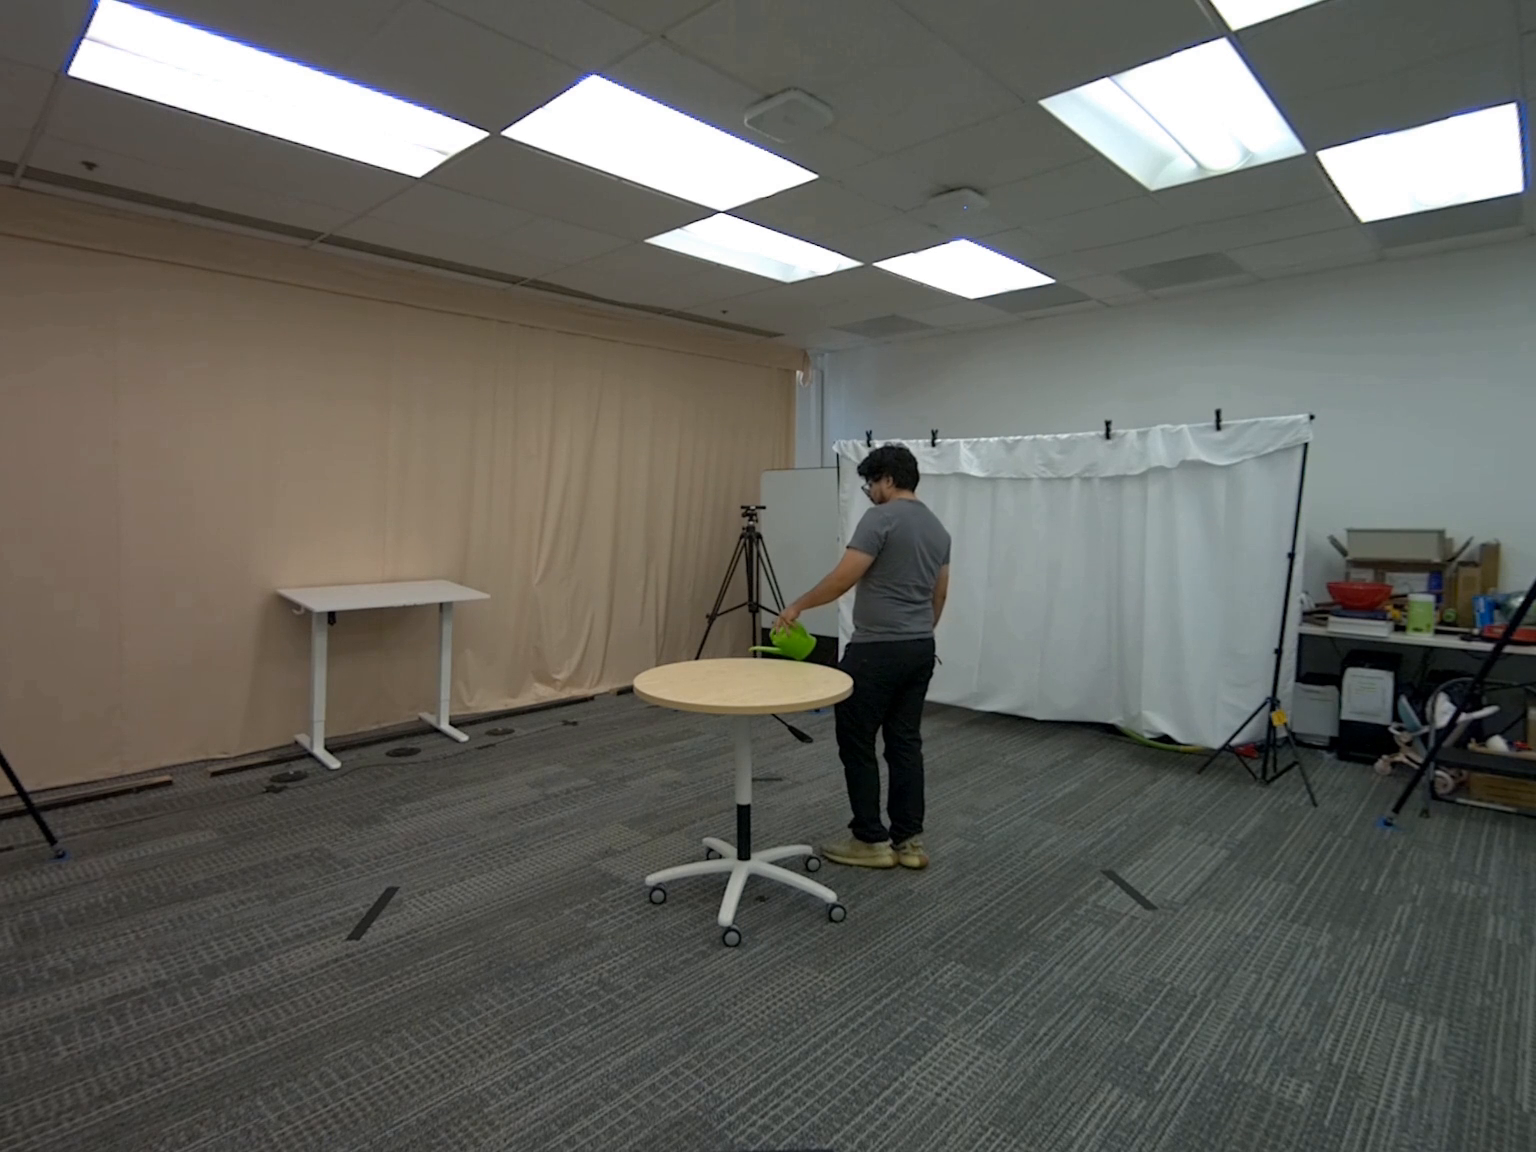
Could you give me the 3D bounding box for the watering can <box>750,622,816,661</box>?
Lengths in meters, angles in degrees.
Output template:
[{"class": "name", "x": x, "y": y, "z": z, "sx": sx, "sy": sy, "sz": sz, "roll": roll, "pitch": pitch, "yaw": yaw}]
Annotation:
[{"class": "watering can", "x": 0.069, "y": 0.275, "z": 3.479, "sx": 0.175, "sy": 0.098, "sz": 0.281, "roll": 37, "pitch": -39, "yaw": -10}]
